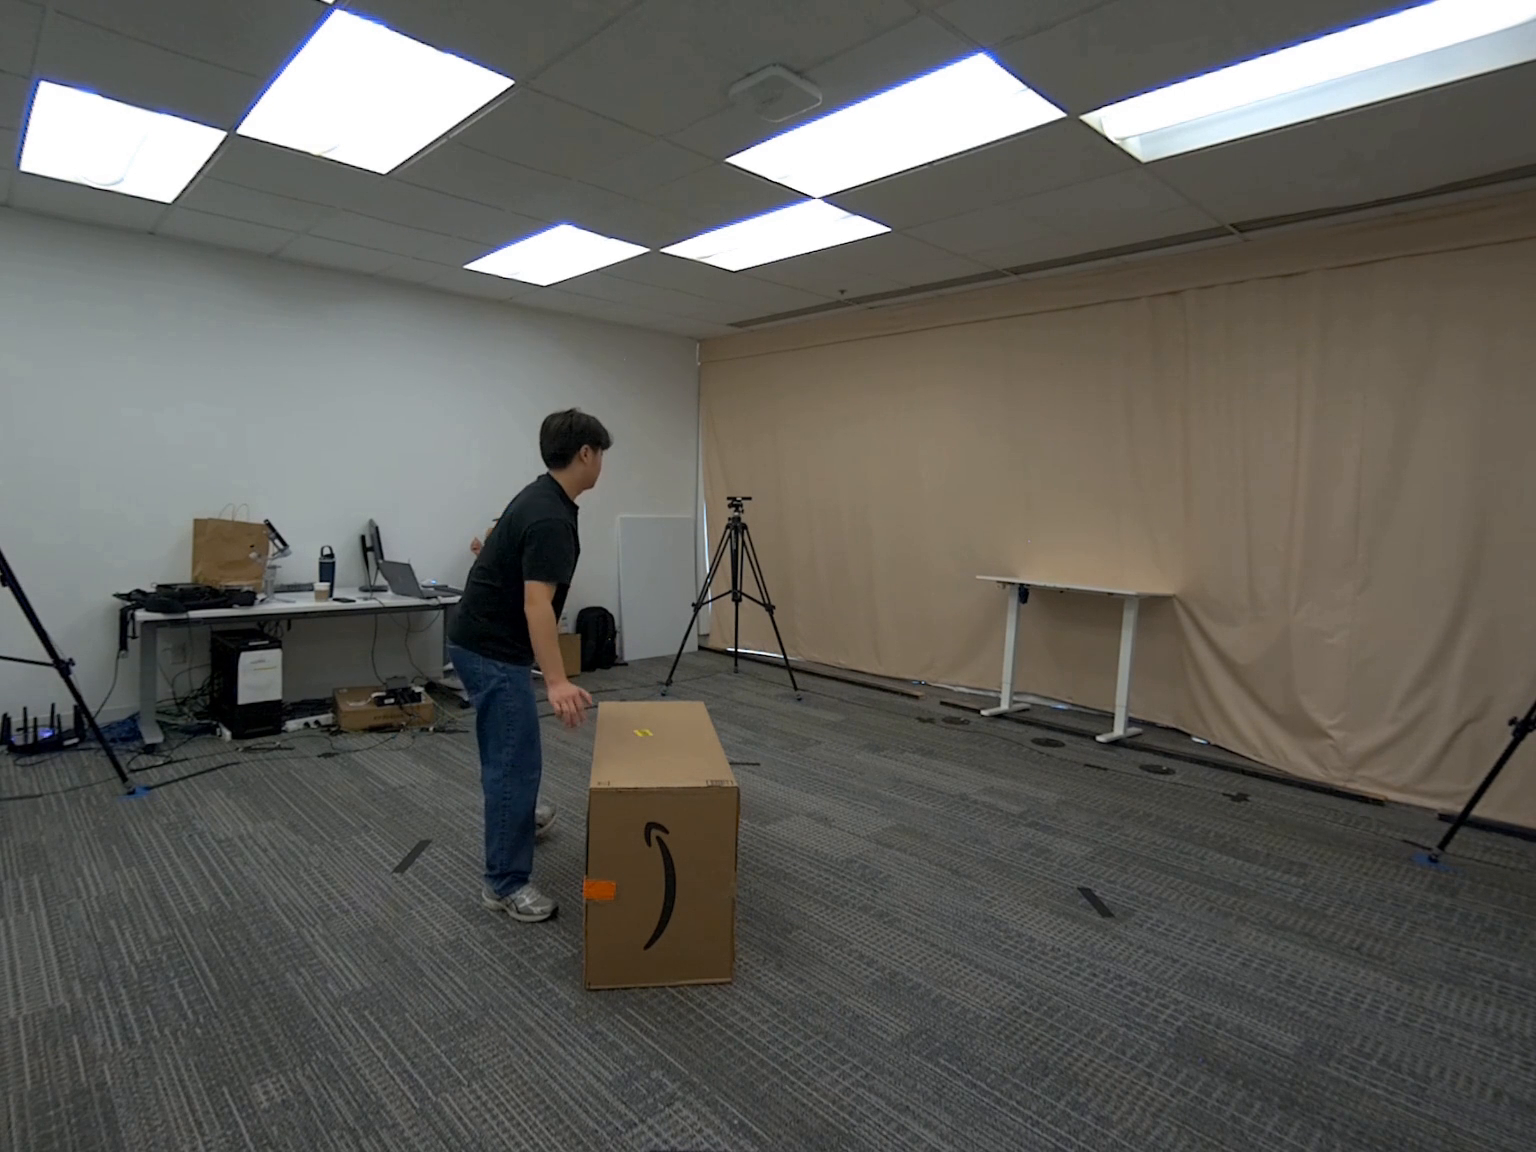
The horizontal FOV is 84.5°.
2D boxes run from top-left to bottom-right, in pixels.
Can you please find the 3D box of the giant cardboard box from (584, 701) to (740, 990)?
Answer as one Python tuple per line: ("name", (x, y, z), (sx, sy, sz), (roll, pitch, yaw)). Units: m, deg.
("giant cardboard box", (-0.392, 0.835, 2.878), (0.443, 0.582, 1.037), (0, 4, -10))
